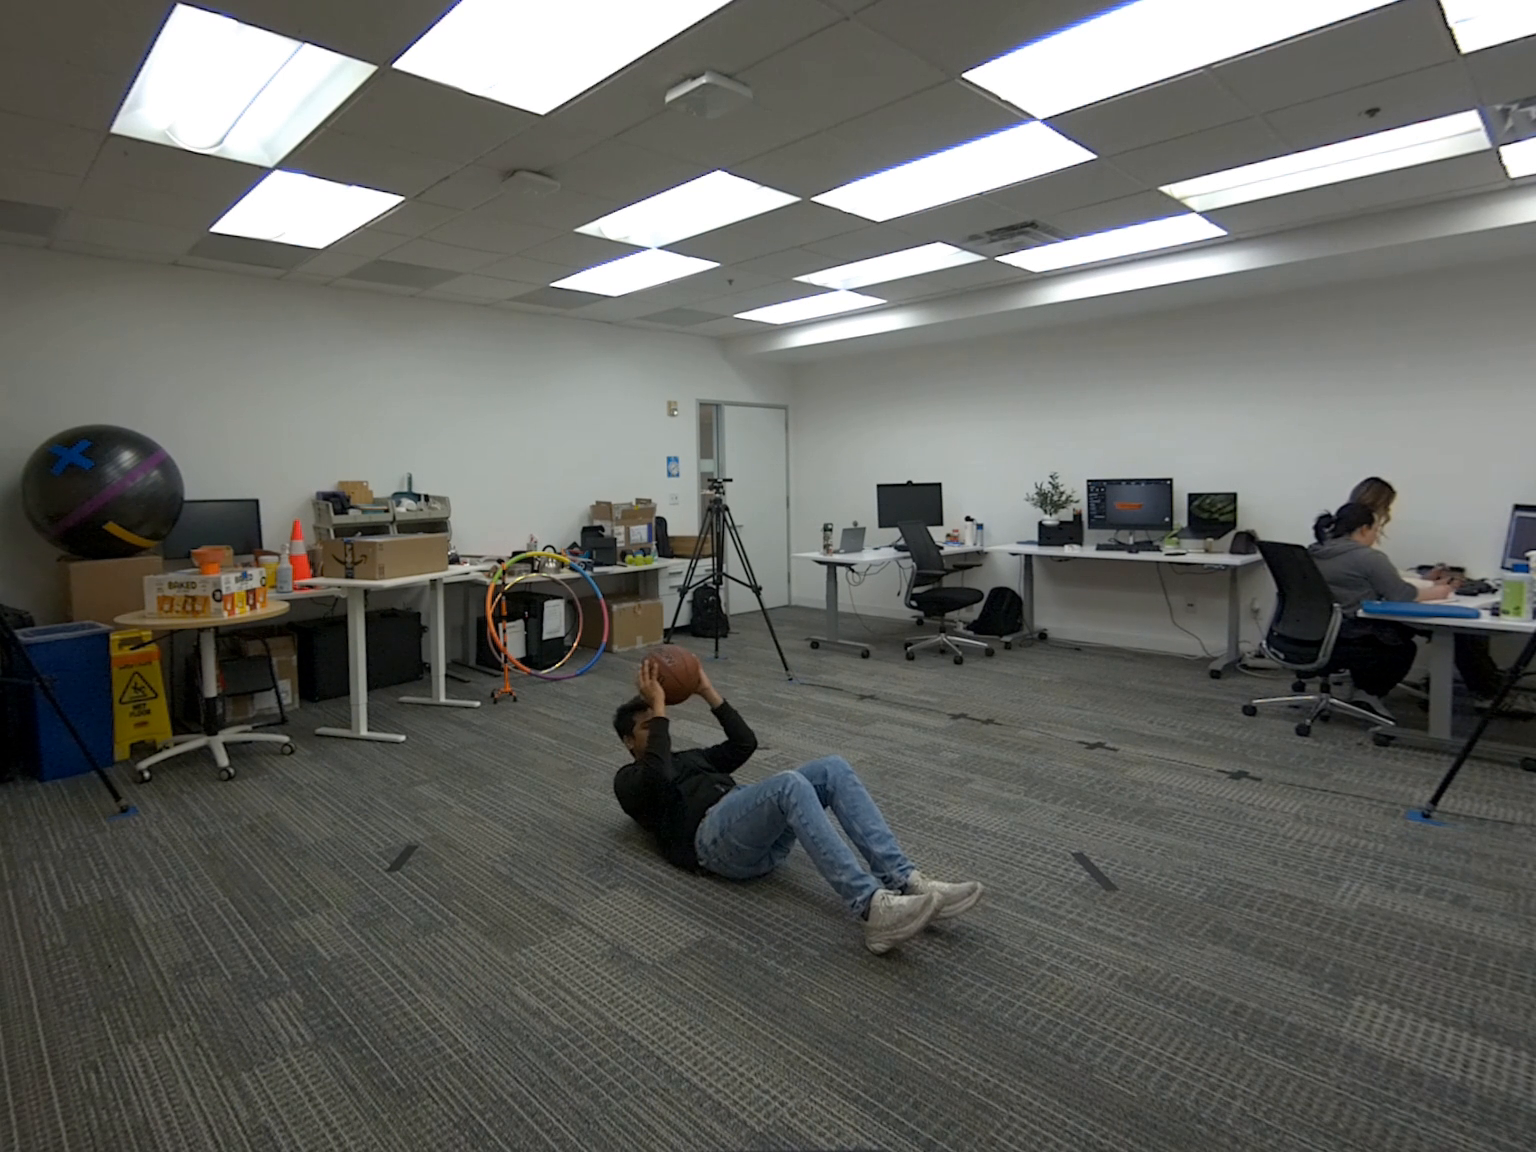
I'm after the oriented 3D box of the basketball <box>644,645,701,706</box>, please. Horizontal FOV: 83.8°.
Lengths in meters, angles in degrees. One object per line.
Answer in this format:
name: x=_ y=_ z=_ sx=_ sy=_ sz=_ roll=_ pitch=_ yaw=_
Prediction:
basketball: x=-0.402 y=0.405 z=3.375 sx=0.236 sy=0.235 sz=0.237 roll=-1 pitch=5 yaw=-2
